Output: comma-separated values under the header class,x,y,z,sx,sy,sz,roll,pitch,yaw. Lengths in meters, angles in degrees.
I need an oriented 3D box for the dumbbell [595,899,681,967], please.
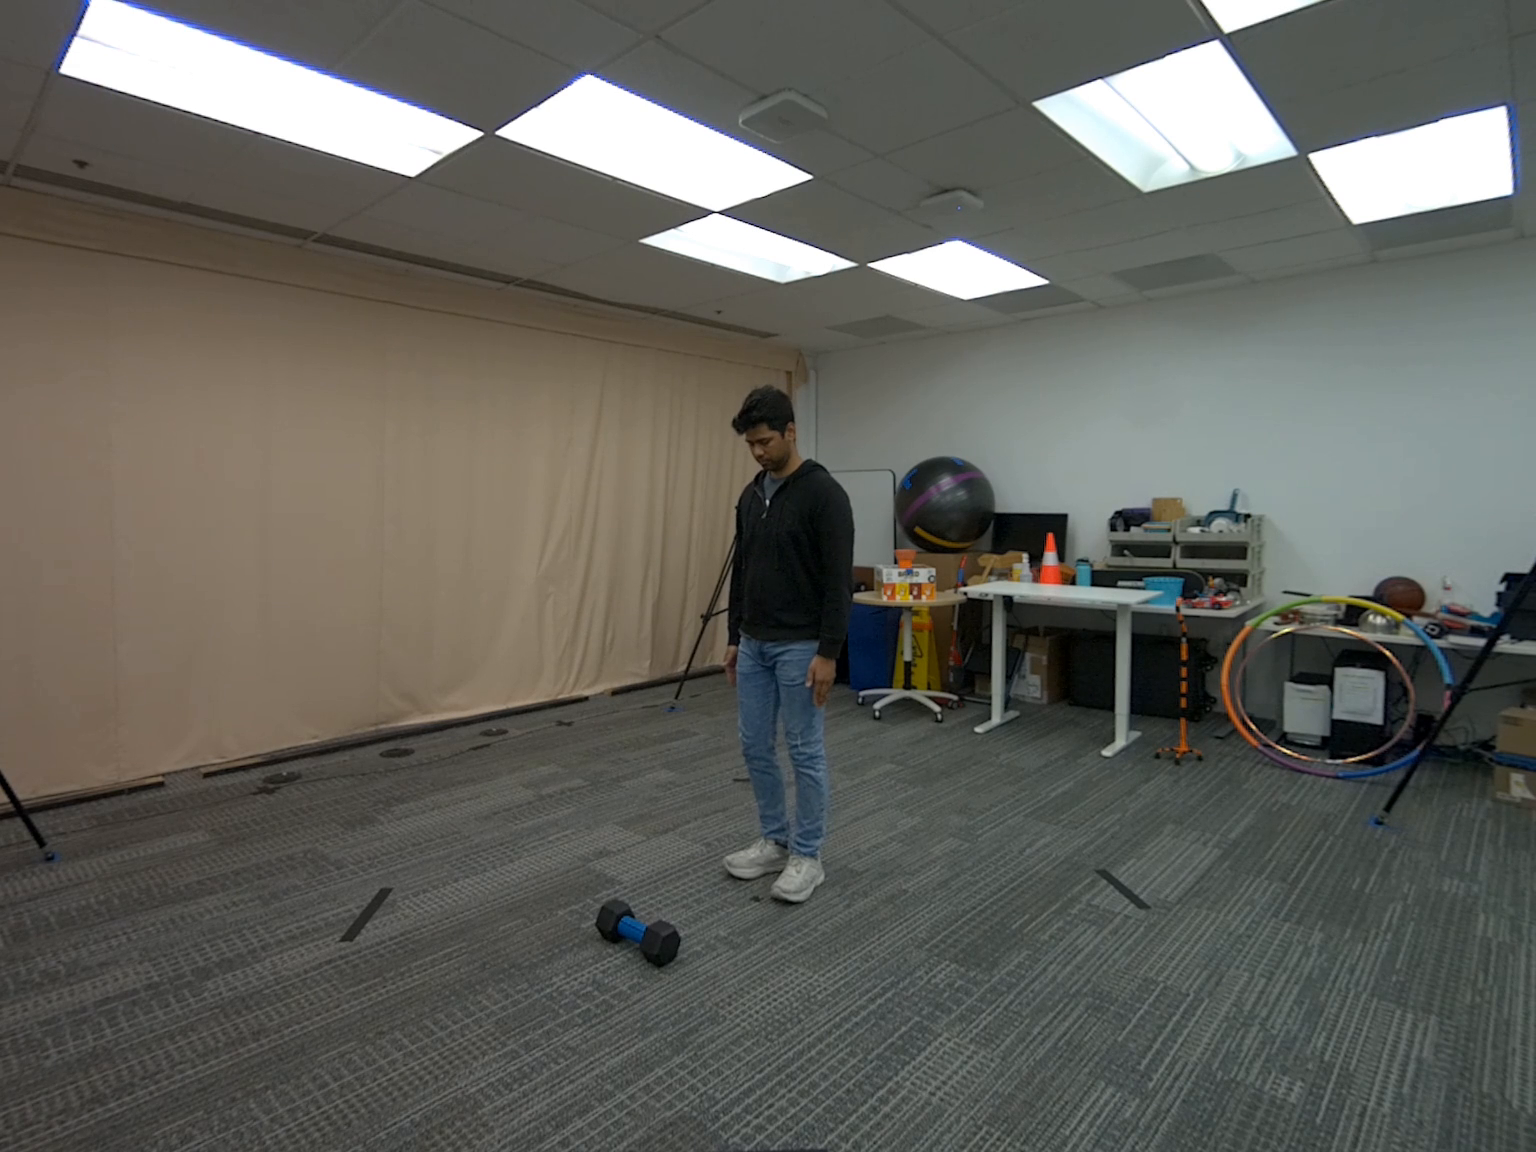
class,x,y,z,sx,sy,sz,roll,pitch,yaw
dumbbell,-0.409,1.121,2.645,0.303,0.120,0.107,3,35,41
